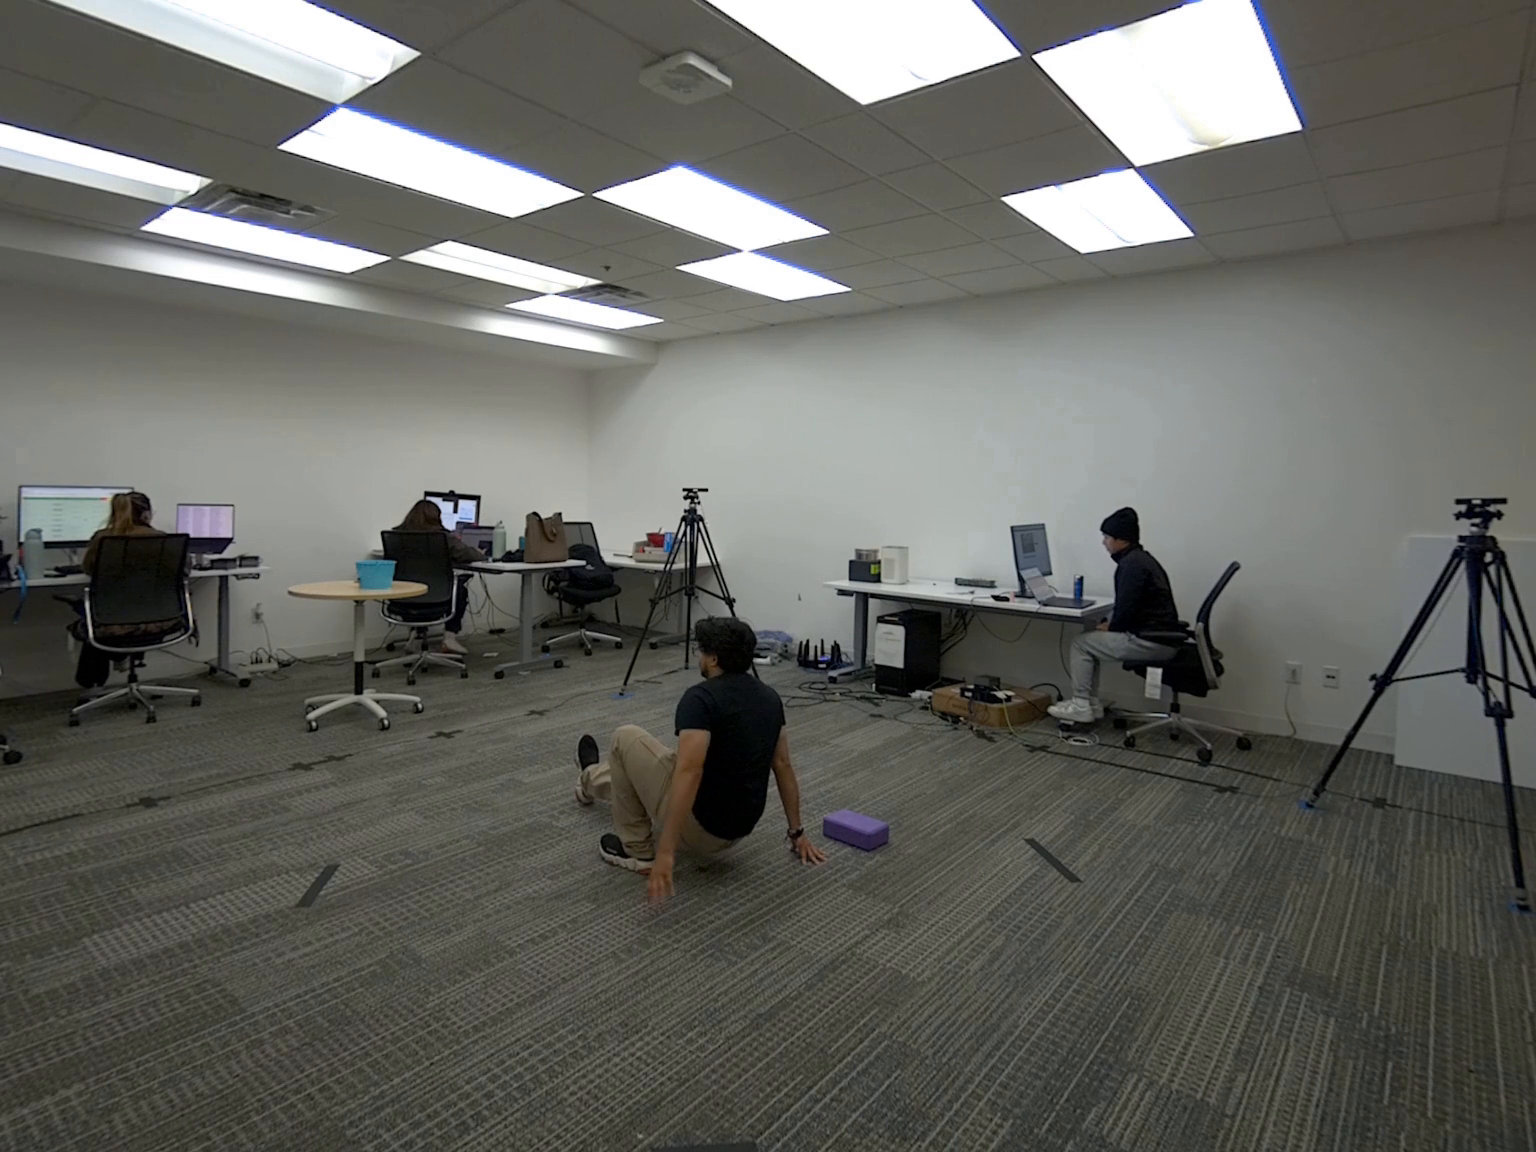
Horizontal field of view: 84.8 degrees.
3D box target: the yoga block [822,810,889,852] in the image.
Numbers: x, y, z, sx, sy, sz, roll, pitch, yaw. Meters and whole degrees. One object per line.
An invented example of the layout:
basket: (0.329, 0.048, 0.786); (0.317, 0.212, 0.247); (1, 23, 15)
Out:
yoga block: (0.345, 1.018, 3.414); (0.237, 0.076, 0.144); (7, 6, 40)
